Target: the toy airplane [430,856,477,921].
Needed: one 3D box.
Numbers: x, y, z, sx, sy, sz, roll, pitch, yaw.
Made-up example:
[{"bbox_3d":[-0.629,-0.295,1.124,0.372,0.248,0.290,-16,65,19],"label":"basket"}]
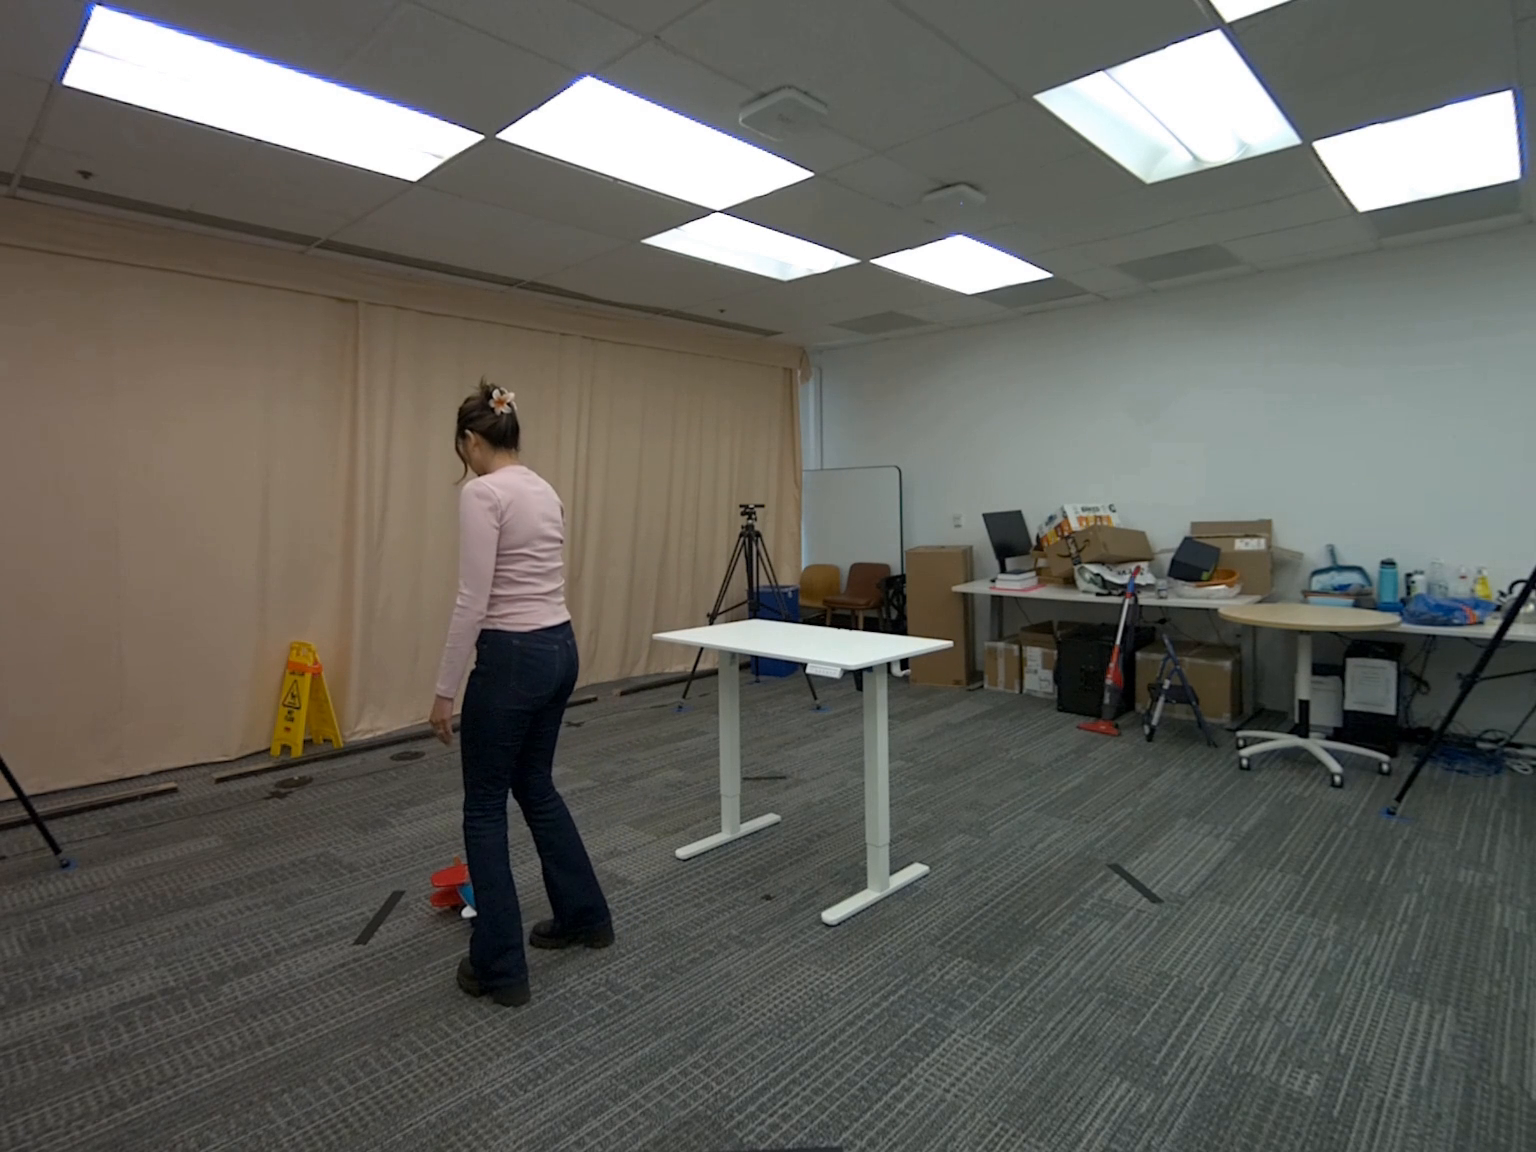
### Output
[{"bbox_3d":[-1.018,1.096,2.919,0.266,0.156,0.245,-1,4,29],"label":"toy airplane"}]
